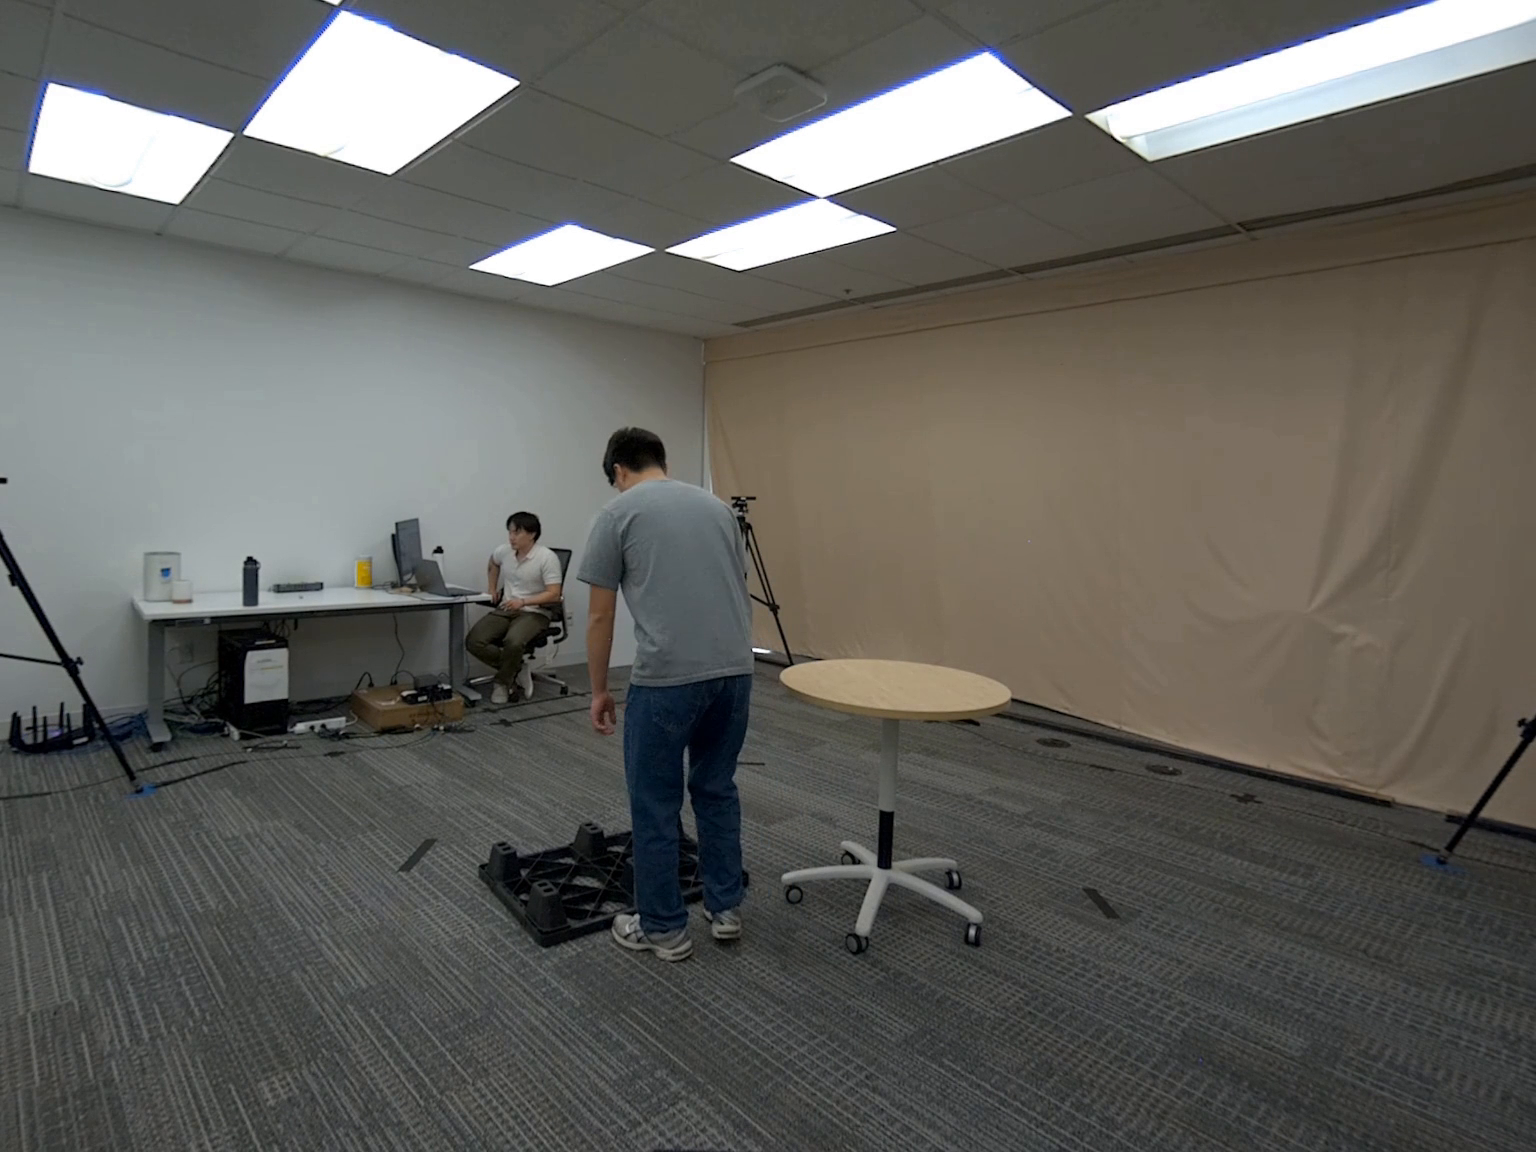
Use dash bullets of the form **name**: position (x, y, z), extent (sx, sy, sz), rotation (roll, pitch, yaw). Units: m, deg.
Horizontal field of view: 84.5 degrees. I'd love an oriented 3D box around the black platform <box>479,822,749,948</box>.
- **black platform**: position (-0.562, 1.039, 3.036), extent (0.788, 0.143, 0.620), rotation (-3, 6, -37)
